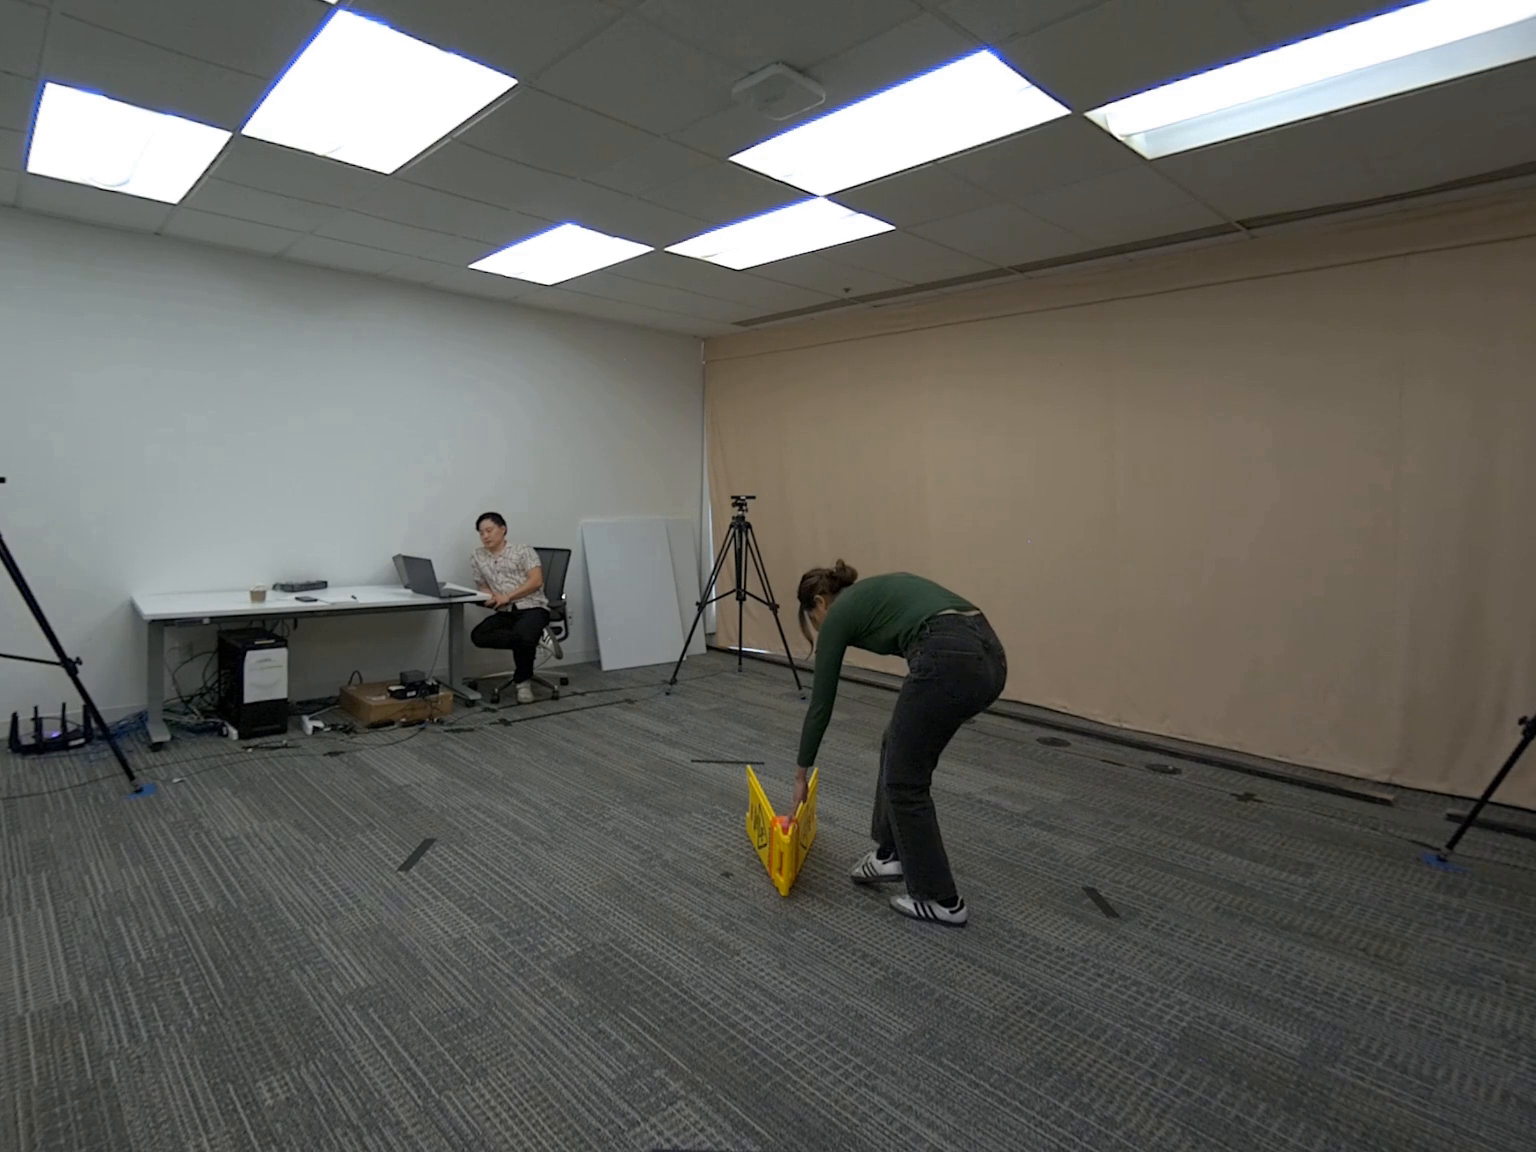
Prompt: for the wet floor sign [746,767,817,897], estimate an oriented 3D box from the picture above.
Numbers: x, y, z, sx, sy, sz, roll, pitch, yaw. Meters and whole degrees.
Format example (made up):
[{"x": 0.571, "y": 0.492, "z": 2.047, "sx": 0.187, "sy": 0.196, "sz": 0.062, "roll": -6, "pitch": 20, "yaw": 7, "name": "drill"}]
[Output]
[{"x": 0.052, "y": 0.965, "z": 3.198, "sx": 0.290, "sy": 0.281, "sz": 0.648, "roll": 1, "pitch": 7, "yaw": 0, "name": "wet floor sign"}]
